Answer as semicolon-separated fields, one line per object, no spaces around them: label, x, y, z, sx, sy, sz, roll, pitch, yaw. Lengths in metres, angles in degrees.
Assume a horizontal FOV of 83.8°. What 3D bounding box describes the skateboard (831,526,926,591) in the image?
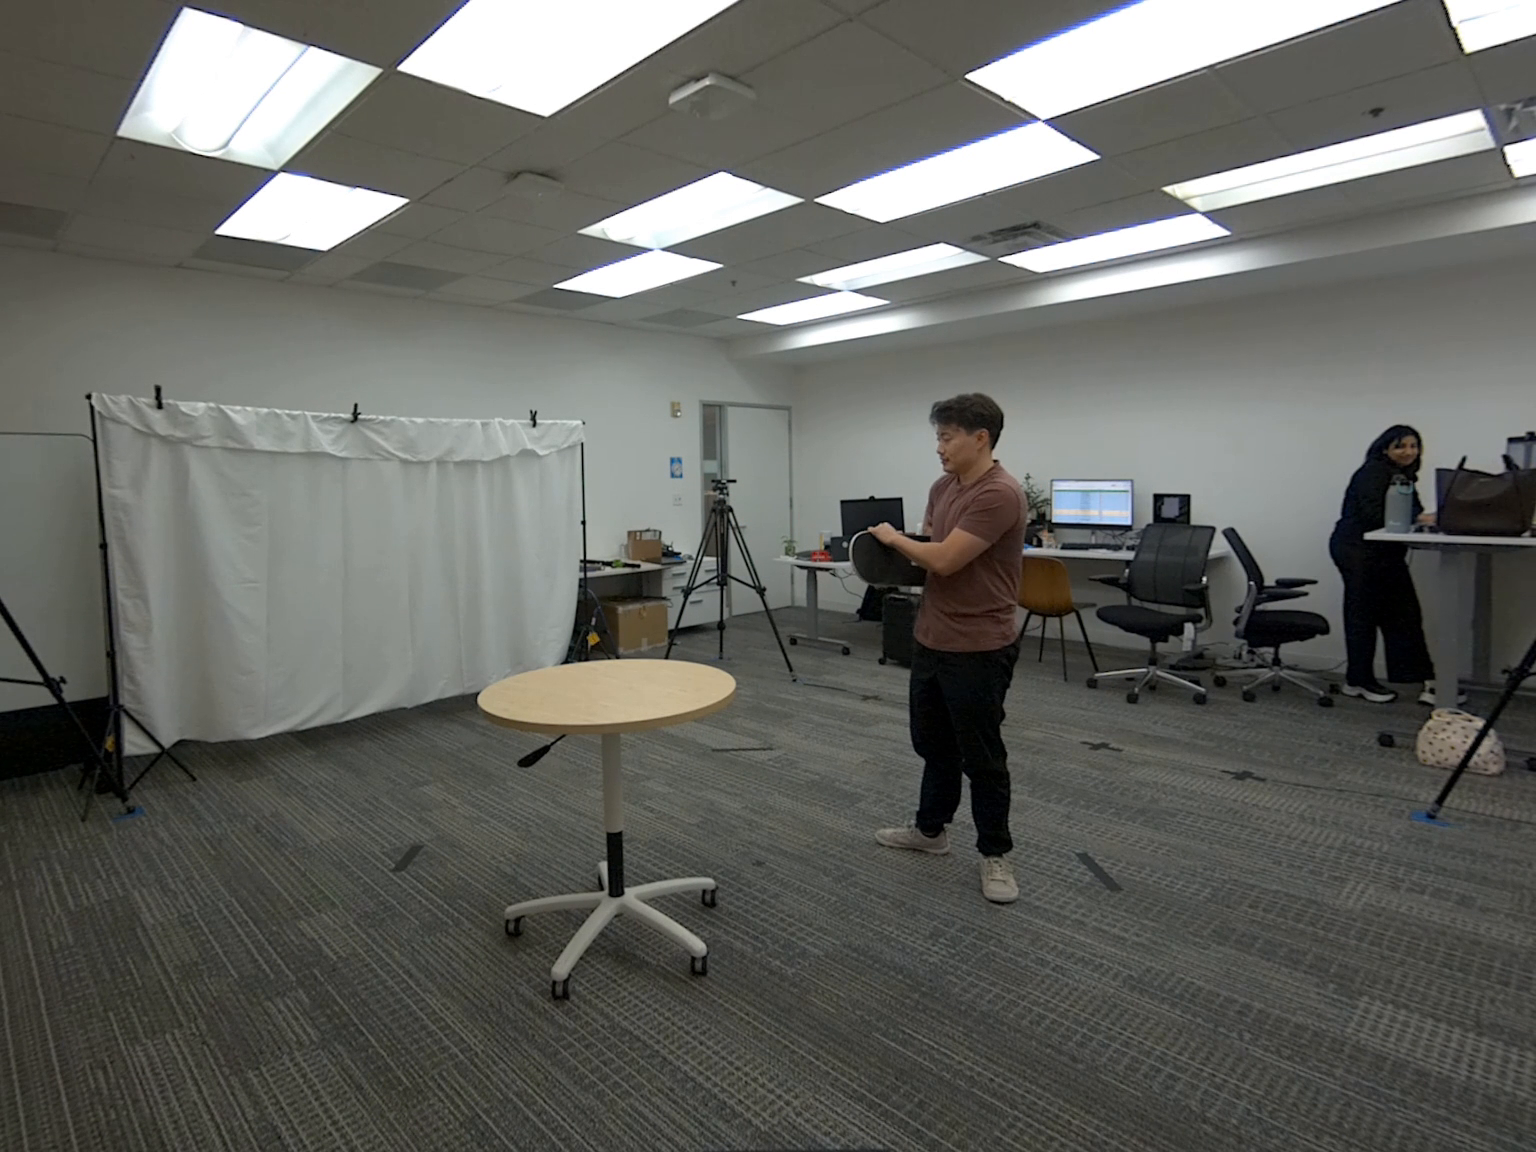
skateboard;0.581;-0.053;3.134;0.764;0.196;0.112;2;-15;-33
